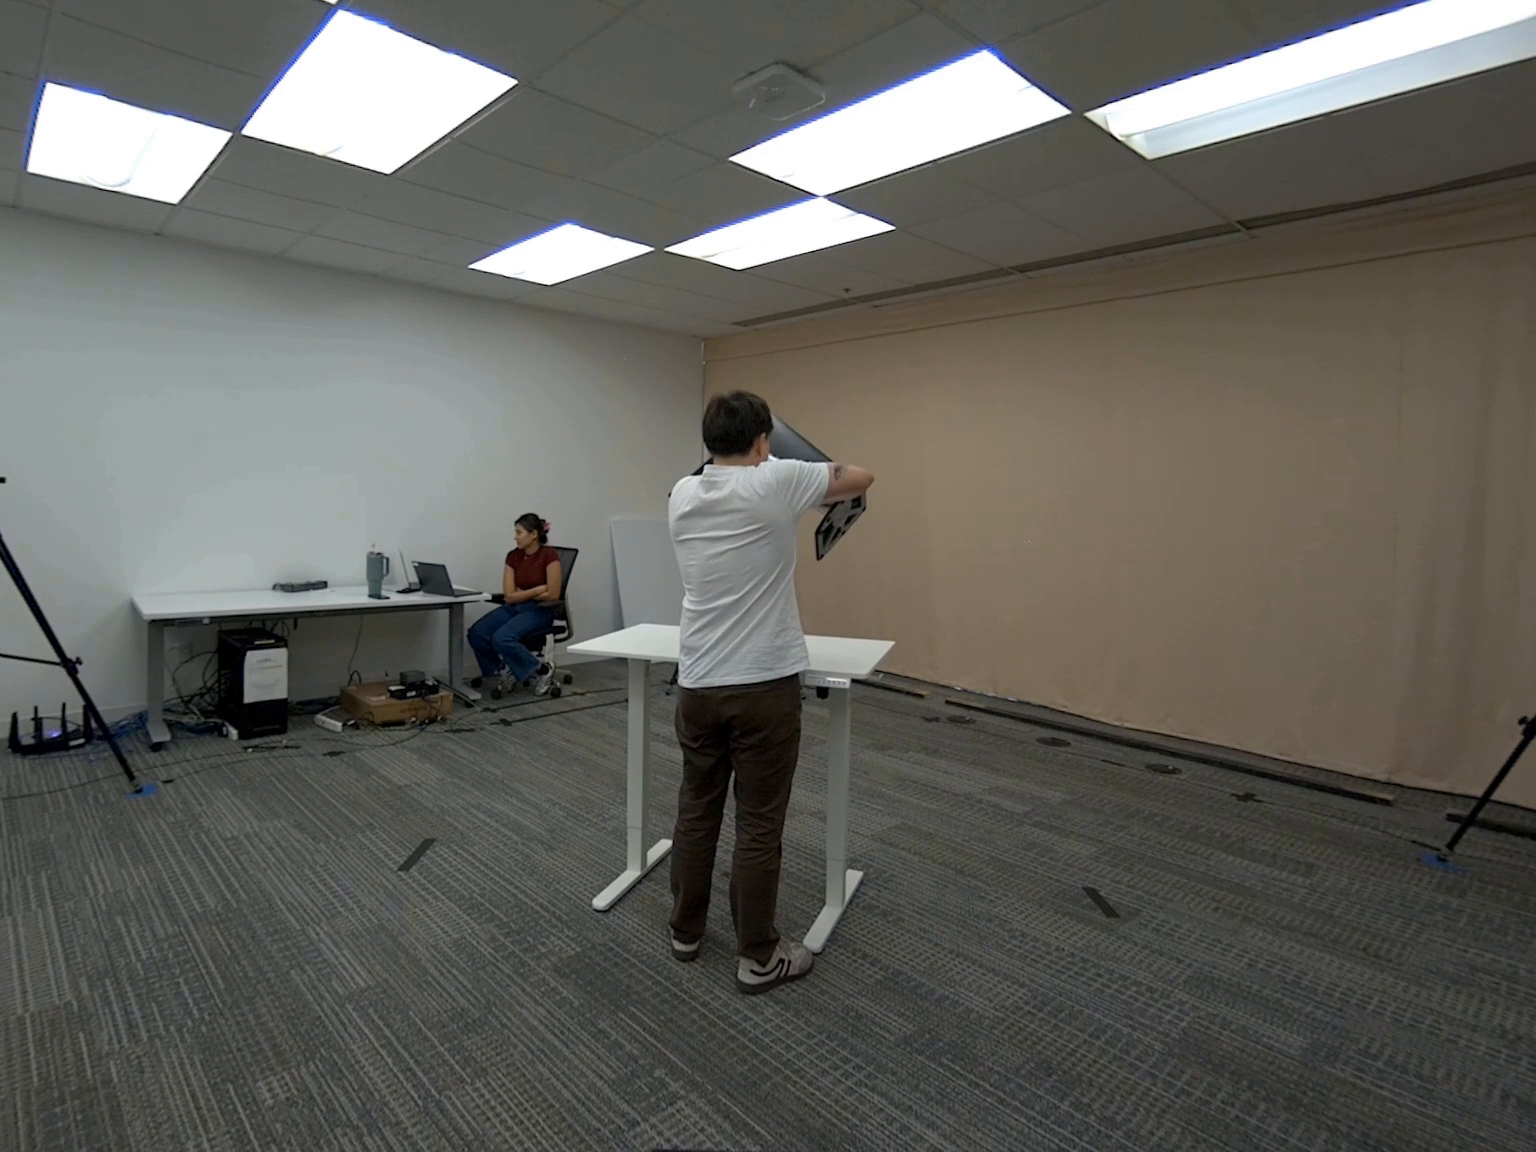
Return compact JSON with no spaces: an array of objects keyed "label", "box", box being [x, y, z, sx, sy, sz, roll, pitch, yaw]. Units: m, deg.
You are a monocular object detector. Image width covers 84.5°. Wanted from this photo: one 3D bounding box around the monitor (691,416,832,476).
[{"label":"monitor","box":[0.038,-0.290,2.823,0.535,0.183,0.538,32,57,23]}]
